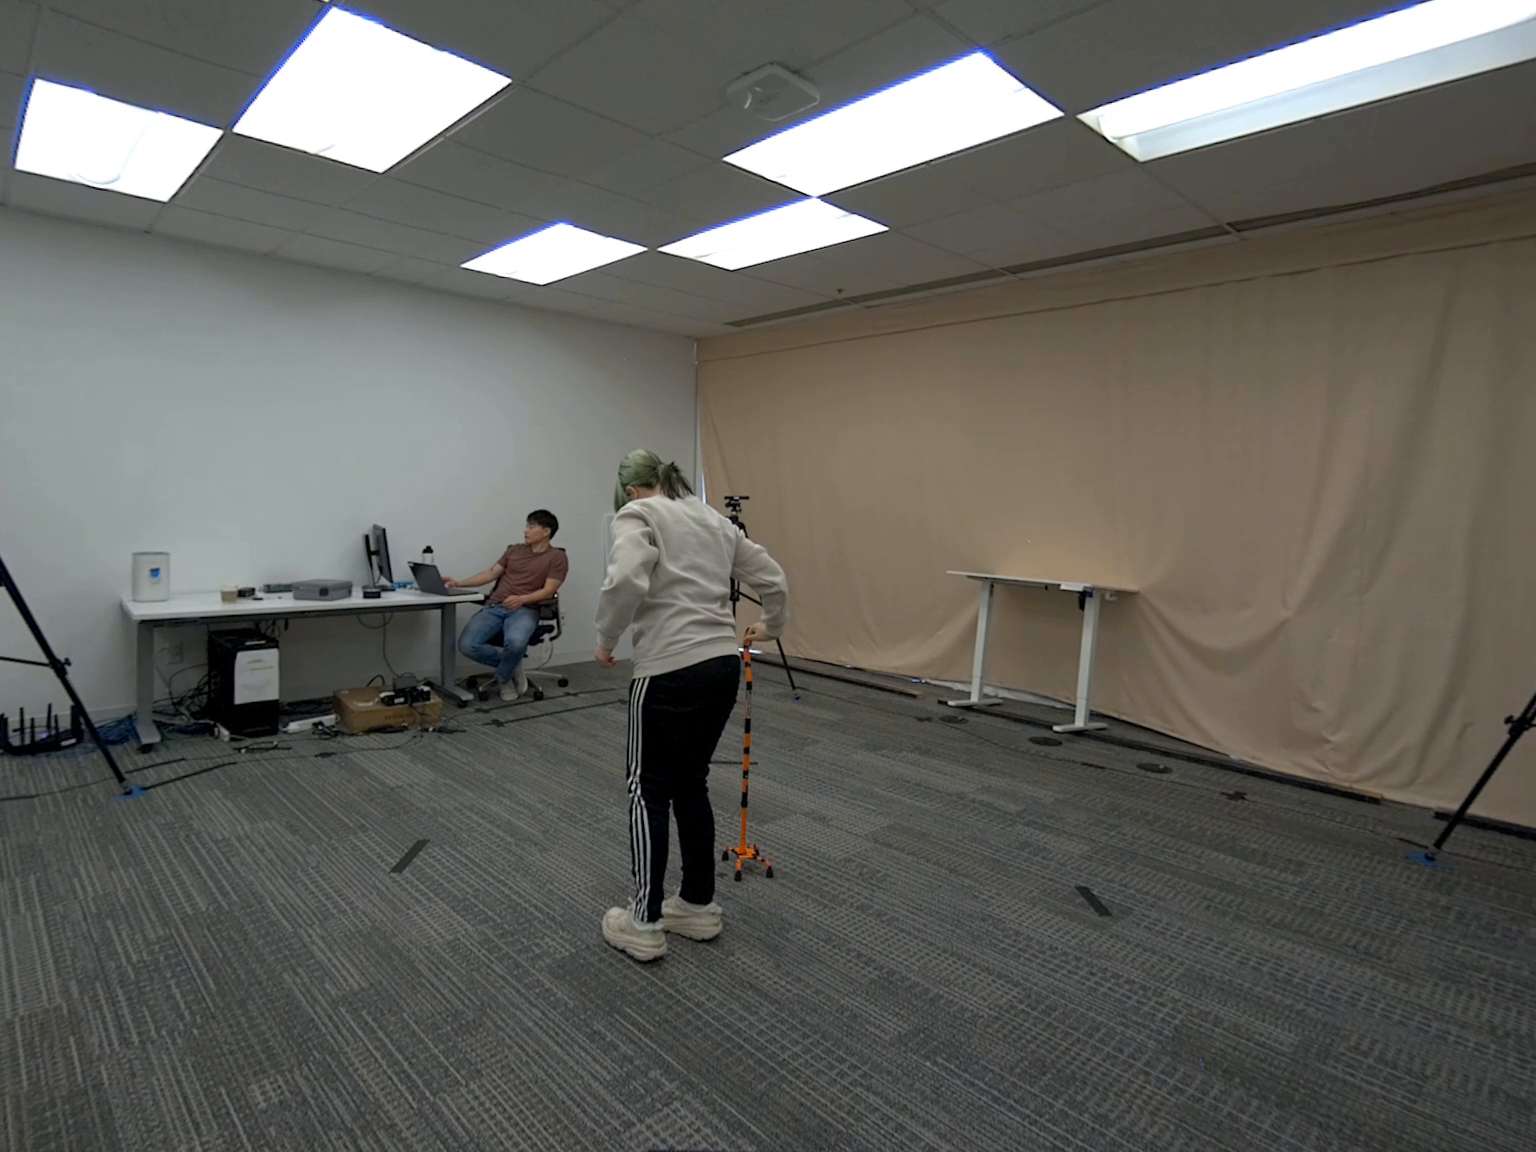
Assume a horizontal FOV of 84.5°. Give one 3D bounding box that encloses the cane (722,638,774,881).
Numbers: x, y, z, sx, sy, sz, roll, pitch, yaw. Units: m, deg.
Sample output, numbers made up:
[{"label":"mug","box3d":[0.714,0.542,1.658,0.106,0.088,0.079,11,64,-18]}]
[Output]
[{"label":"cane","box3d":[-0.066,0.651,3.140,0.149,0.906,0.210,1,3,-17]}]
